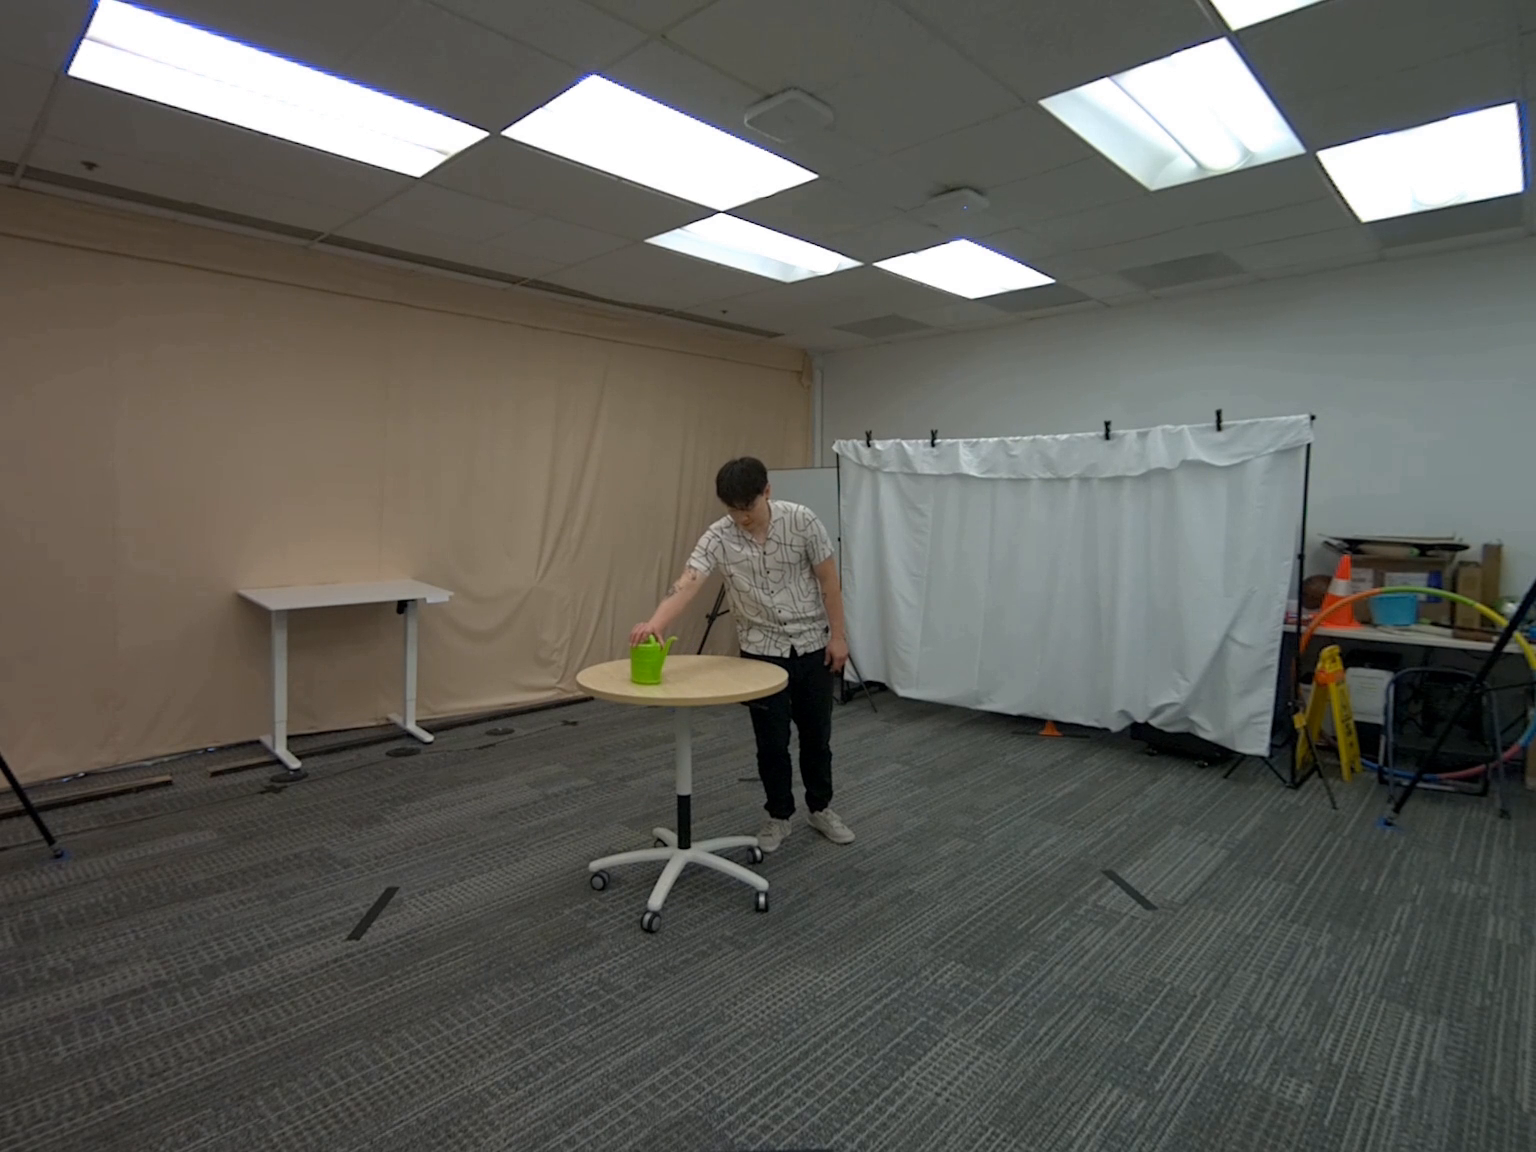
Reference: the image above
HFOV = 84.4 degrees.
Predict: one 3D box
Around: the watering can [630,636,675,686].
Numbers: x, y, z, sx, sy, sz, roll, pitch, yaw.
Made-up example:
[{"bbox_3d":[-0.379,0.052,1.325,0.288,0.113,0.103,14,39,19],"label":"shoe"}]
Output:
[{"bbox_3d":[-0.399,0.283,2.890,0.095,0.177,0.285,0,-1,-26],"label":"watering can"}]
